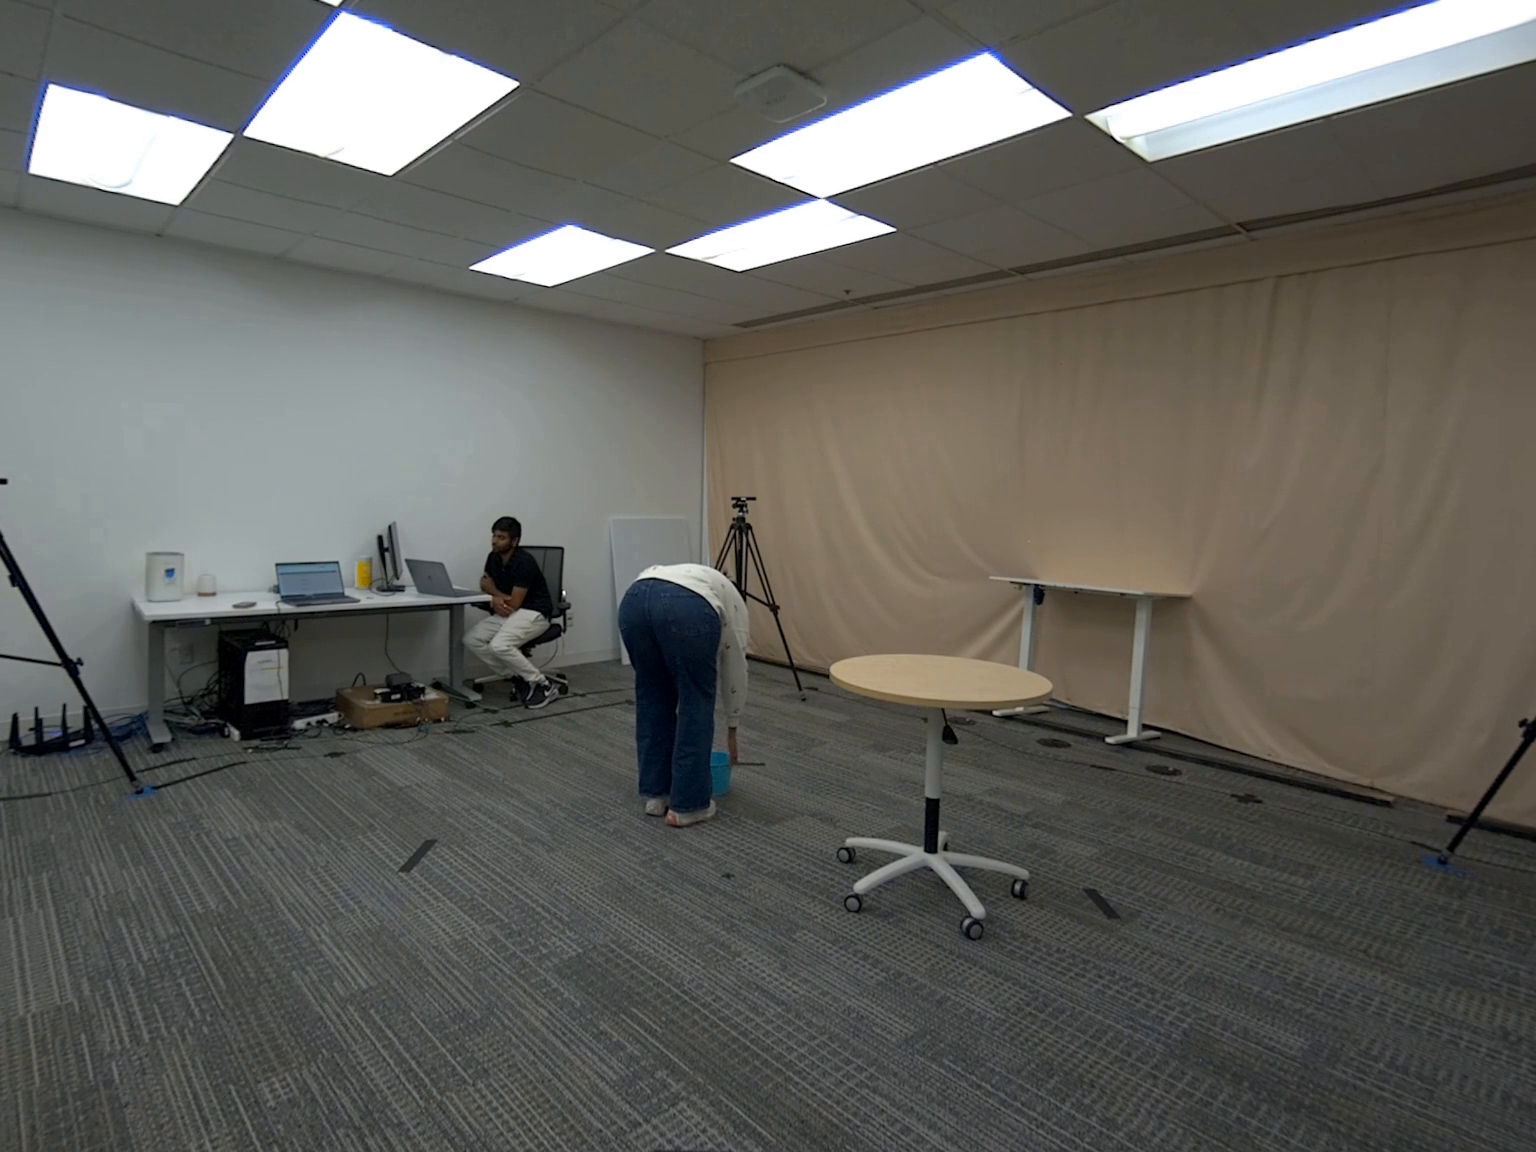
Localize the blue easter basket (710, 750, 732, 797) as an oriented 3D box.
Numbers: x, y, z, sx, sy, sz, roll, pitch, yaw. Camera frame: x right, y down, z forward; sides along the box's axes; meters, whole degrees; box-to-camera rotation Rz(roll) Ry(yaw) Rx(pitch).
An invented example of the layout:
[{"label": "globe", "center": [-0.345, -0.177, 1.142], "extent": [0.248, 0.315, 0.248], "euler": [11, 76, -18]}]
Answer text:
[{"label": "blue easter basket", "center": [-0.287, 0.947, 4.046], "extent": [0.243, 0.155, 0.244], "euler": [2, 5, -1]}]
